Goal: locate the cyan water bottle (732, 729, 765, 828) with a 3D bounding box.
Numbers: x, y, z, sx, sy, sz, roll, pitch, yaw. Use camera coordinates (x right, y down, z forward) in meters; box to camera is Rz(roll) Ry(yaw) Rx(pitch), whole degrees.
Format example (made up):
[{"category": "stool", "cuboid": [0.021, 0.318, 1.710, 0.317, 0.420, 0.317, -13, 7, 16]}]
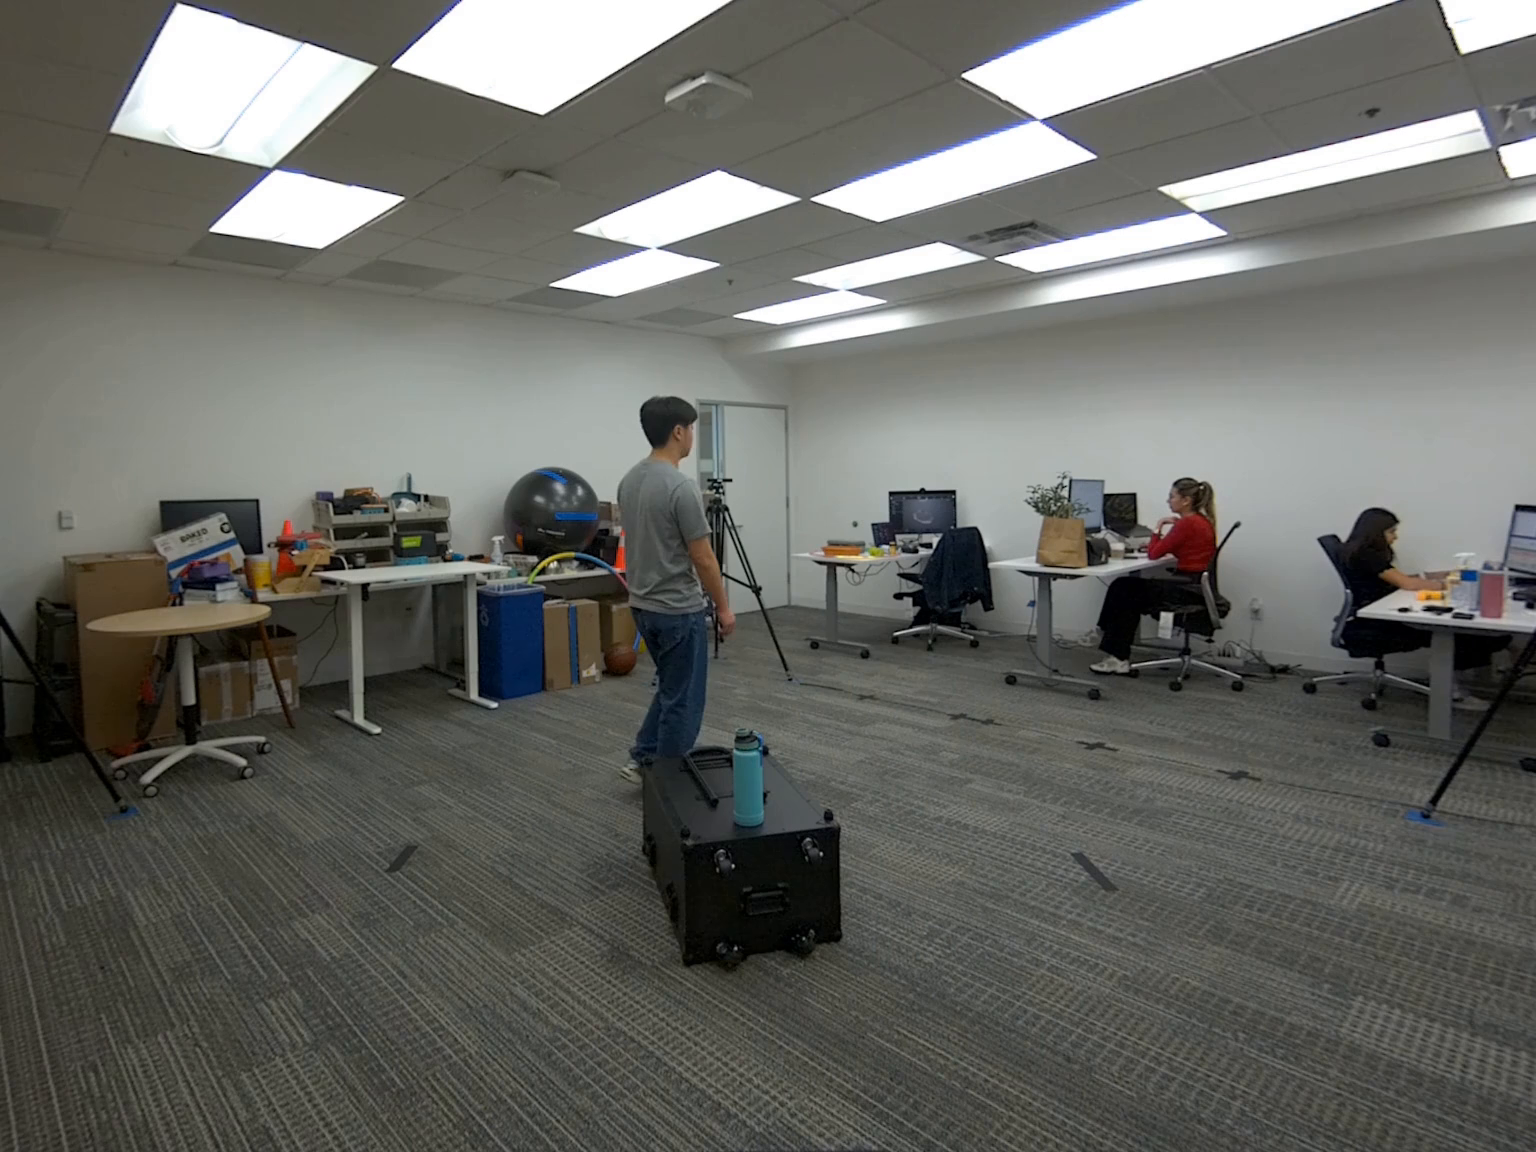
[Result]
[{"category": "cyan water bottle", "cuboid": [-0.054, 0.604, 2.594, 0.092, 0.282, 0.093, 1, 5, -2]}]
